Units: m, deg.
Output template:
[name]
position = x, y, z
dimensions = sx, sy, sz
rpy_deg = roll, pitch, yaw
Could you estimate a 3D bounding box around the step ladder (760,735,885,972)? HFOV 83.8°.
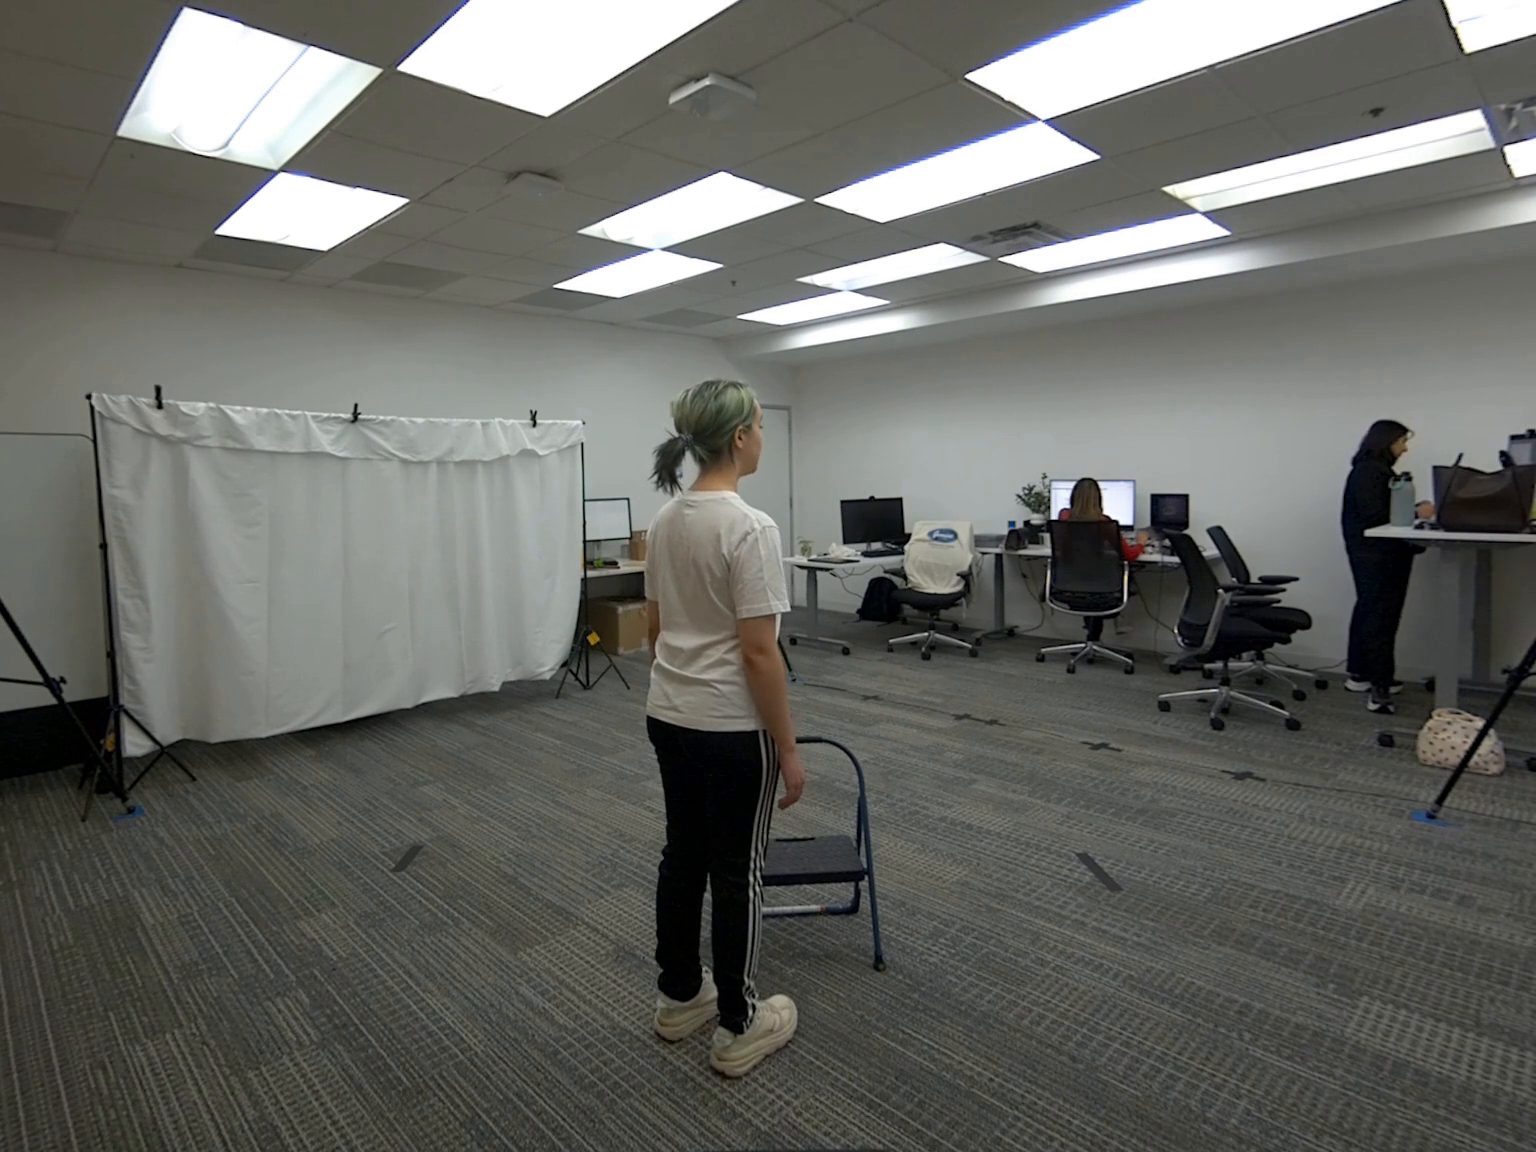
[step ladder]
position = 0.104, 0.807, 2.566
dimensions = 0.429, 0.603, 0.352
rpy_deg = -2, 5, -5
